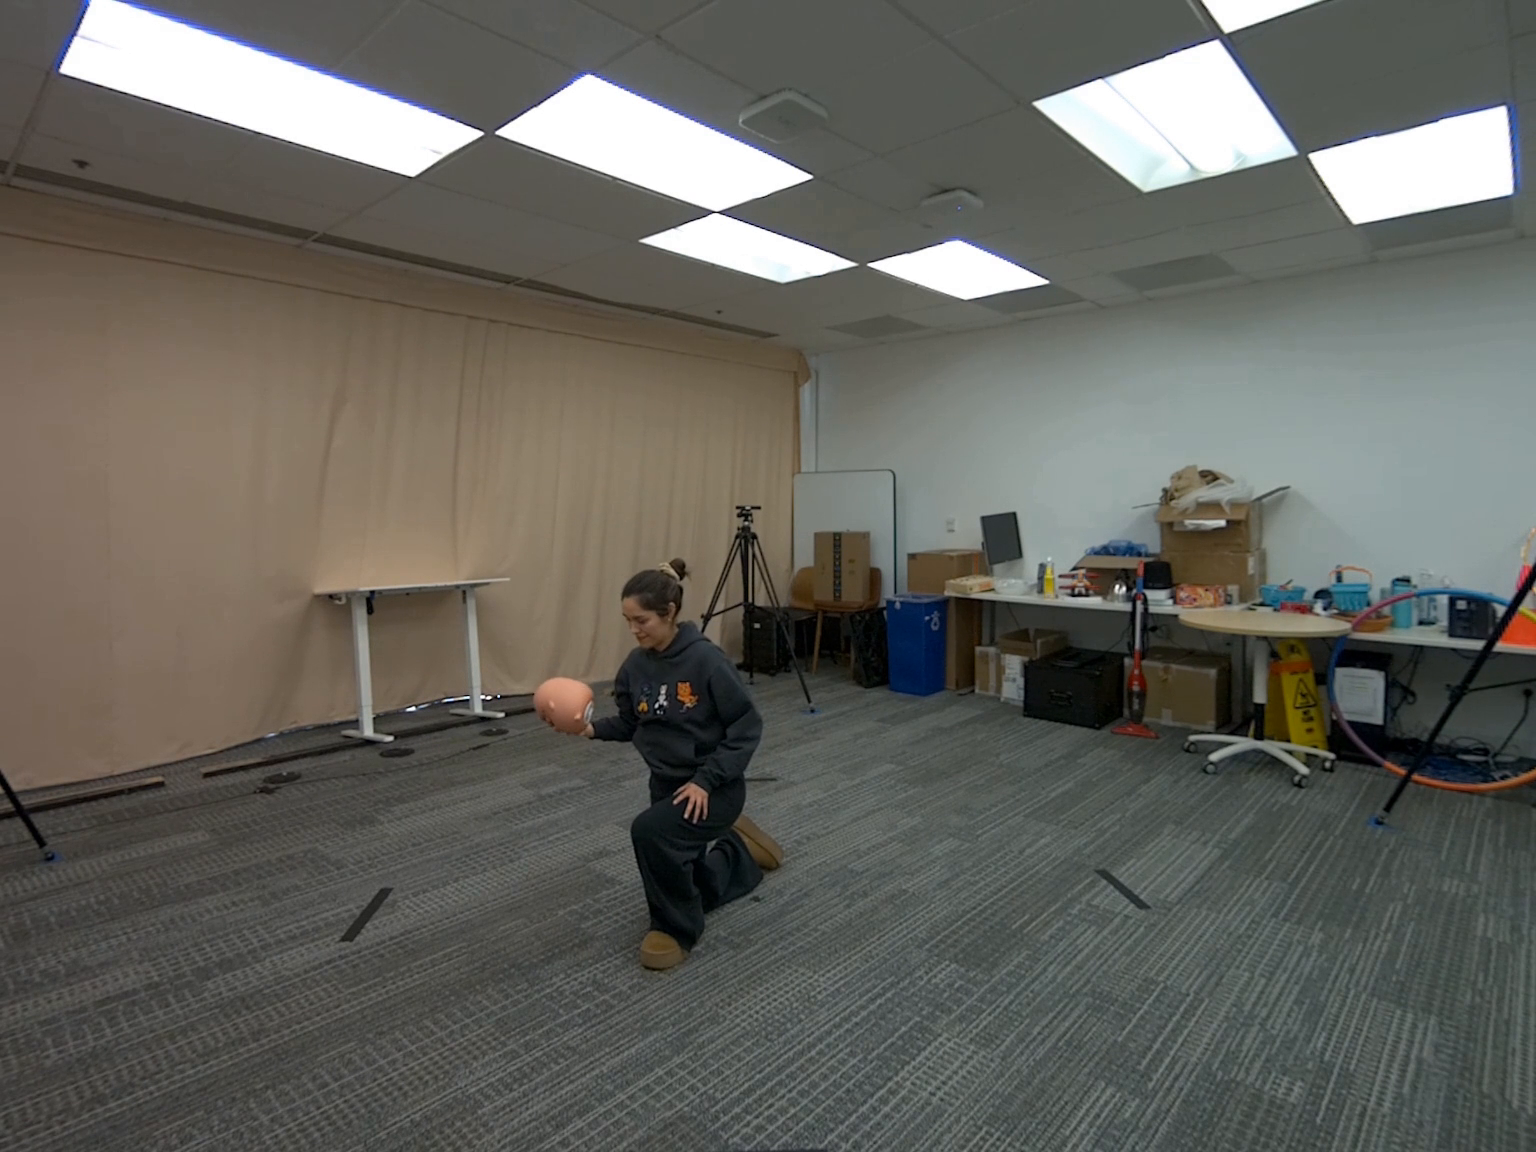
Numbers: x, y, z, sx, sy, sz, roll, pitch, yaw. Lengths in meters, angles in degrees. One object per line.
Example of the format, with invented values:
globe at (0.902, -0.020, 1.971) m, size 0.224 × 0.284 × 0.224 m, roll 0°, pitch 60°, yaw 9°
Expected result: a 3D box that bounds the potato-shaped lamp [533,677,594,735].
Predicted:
potato-shaped lamp at (-0.660, 0.429, 2.775) m, size 0.199 × 0.173 × 0.162 m, roll 11°, pitch -39°, yaw 5°
